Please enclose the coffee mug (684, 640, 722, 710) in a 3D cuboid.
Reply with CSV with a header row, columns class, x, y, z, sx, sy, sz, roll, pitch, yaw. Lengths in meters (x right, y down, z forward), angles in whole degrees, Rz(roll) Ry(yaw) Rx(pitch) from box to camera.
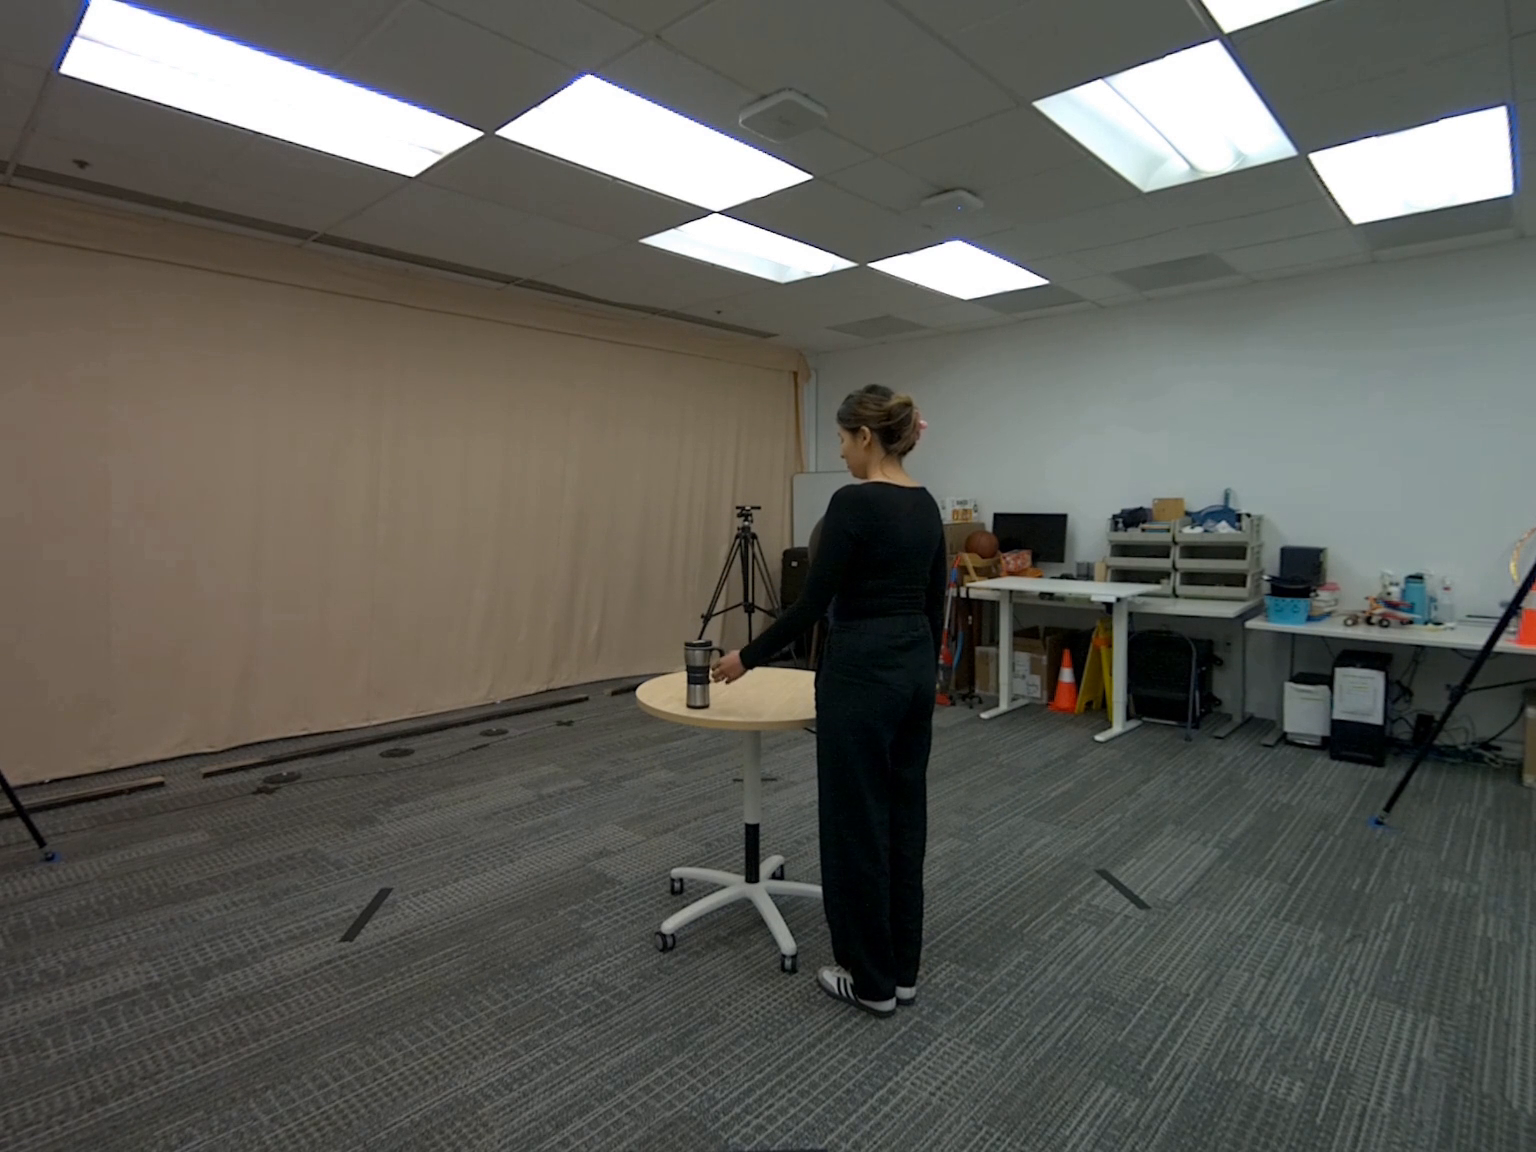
class,x,y,z,sx,sy,sz,roll,pitch,yaw
coffee mug,-0.196,0.302,2.531,0.126,0.203,0.085,-1,-1,41
